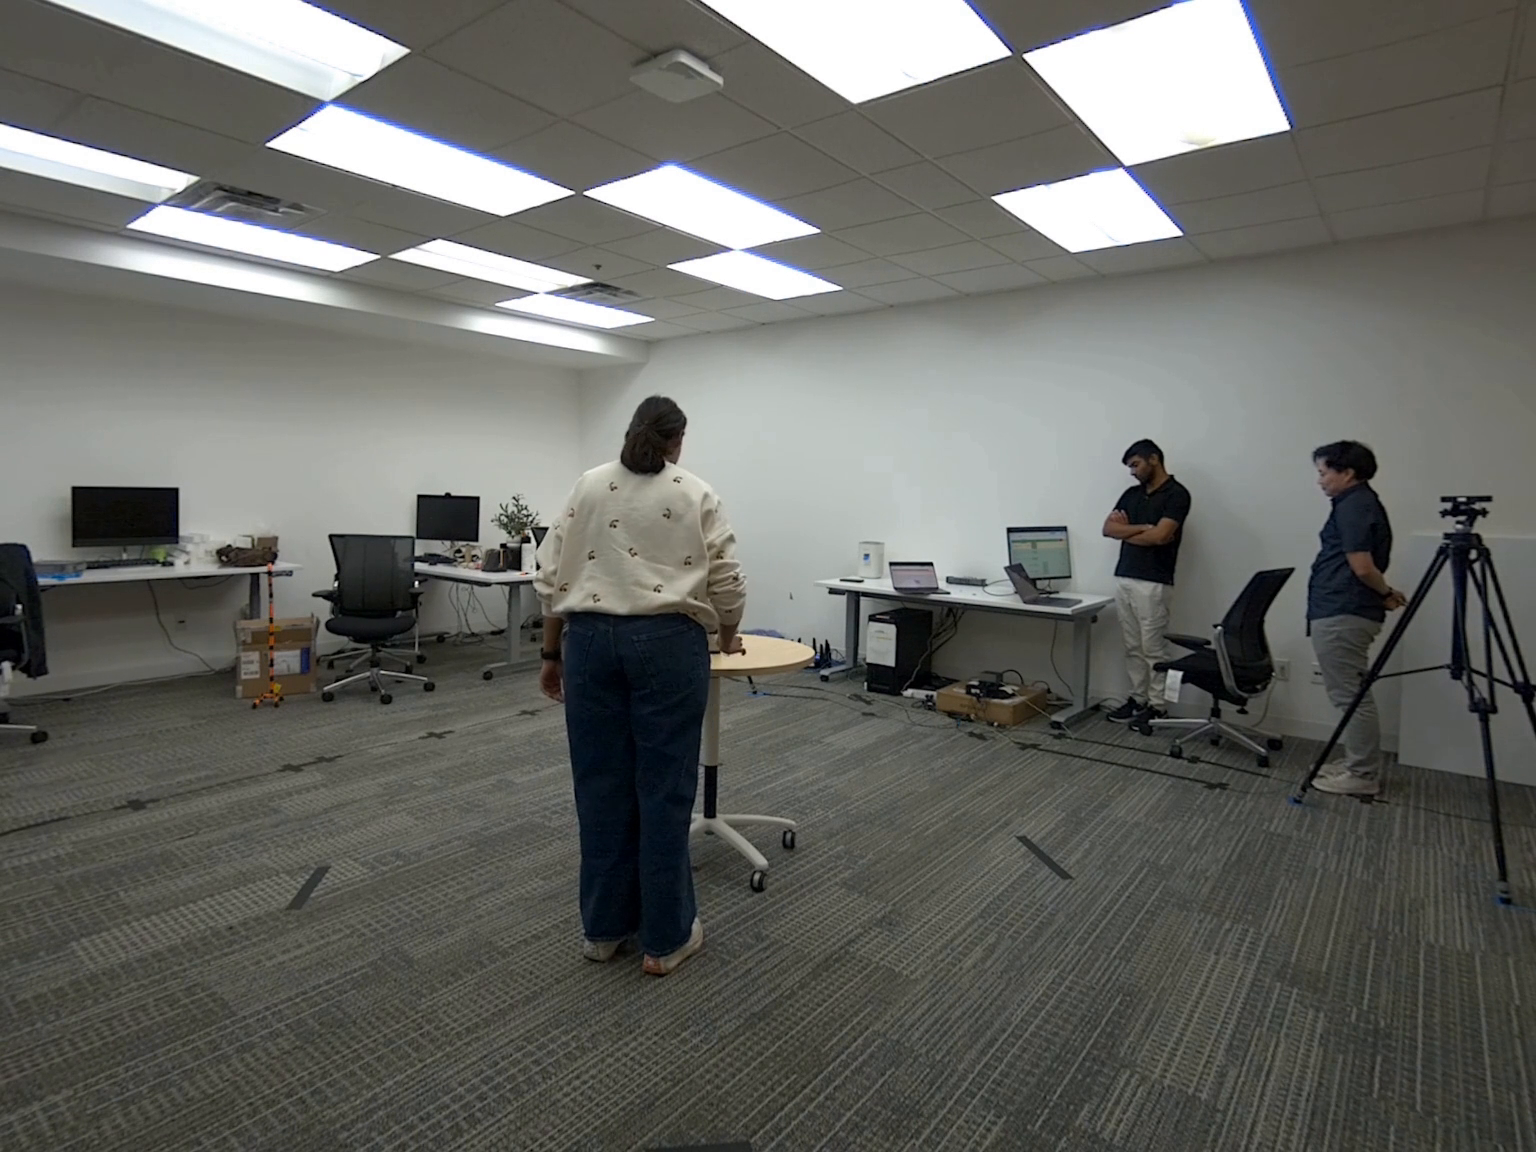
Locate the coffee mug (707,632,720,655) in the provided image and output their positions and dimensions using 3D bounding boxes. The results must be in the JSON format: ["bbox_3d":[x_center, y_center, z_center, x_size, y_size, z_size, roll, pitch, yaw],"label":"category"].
[{"bbox_3d":[-0.198,0.179,3.145,0.090,0.202,0.119,1,6,27],"label":"coffee mug"}]
